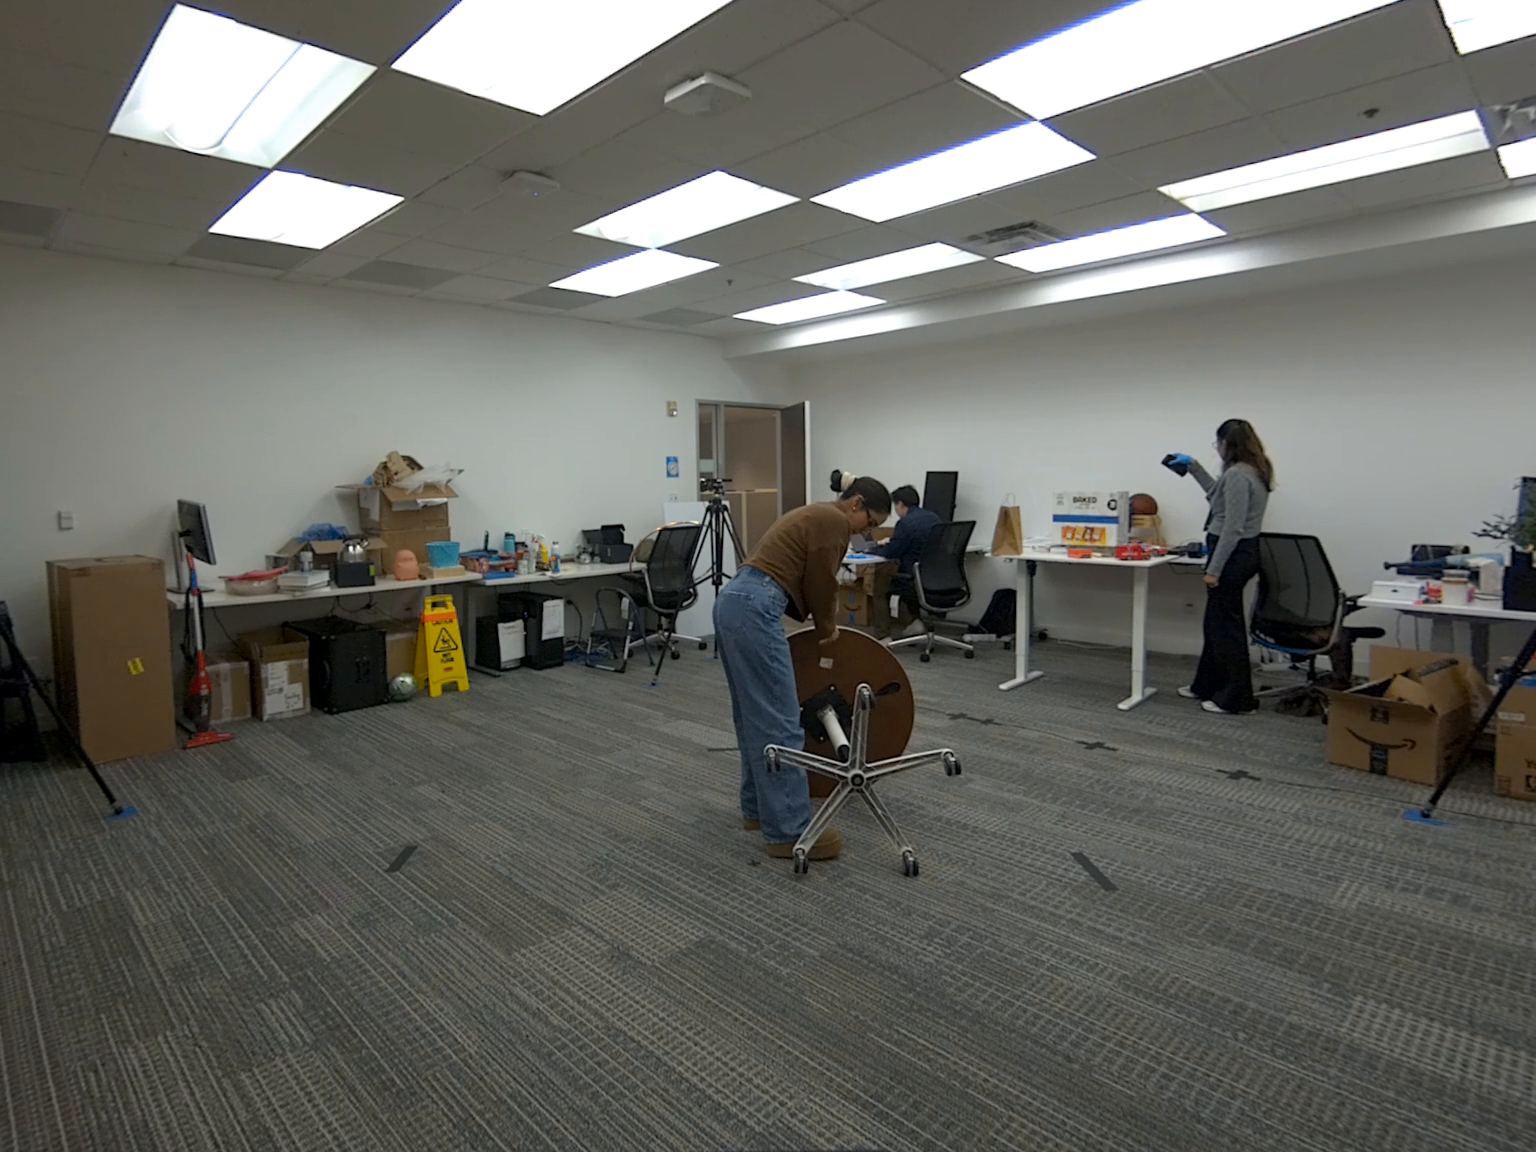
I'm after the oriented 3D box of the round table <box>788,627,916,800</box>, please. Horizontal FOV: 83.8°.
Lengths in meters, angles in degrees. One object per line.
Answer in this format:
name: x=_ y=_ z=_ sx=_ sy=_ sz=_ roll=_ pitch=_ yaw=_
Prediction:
round table: x=0.300 y=0.668 z=3.313 sx=0.762 sy=0.757 sz=0.803 roll=-1 pitch=10 yaw=-4
